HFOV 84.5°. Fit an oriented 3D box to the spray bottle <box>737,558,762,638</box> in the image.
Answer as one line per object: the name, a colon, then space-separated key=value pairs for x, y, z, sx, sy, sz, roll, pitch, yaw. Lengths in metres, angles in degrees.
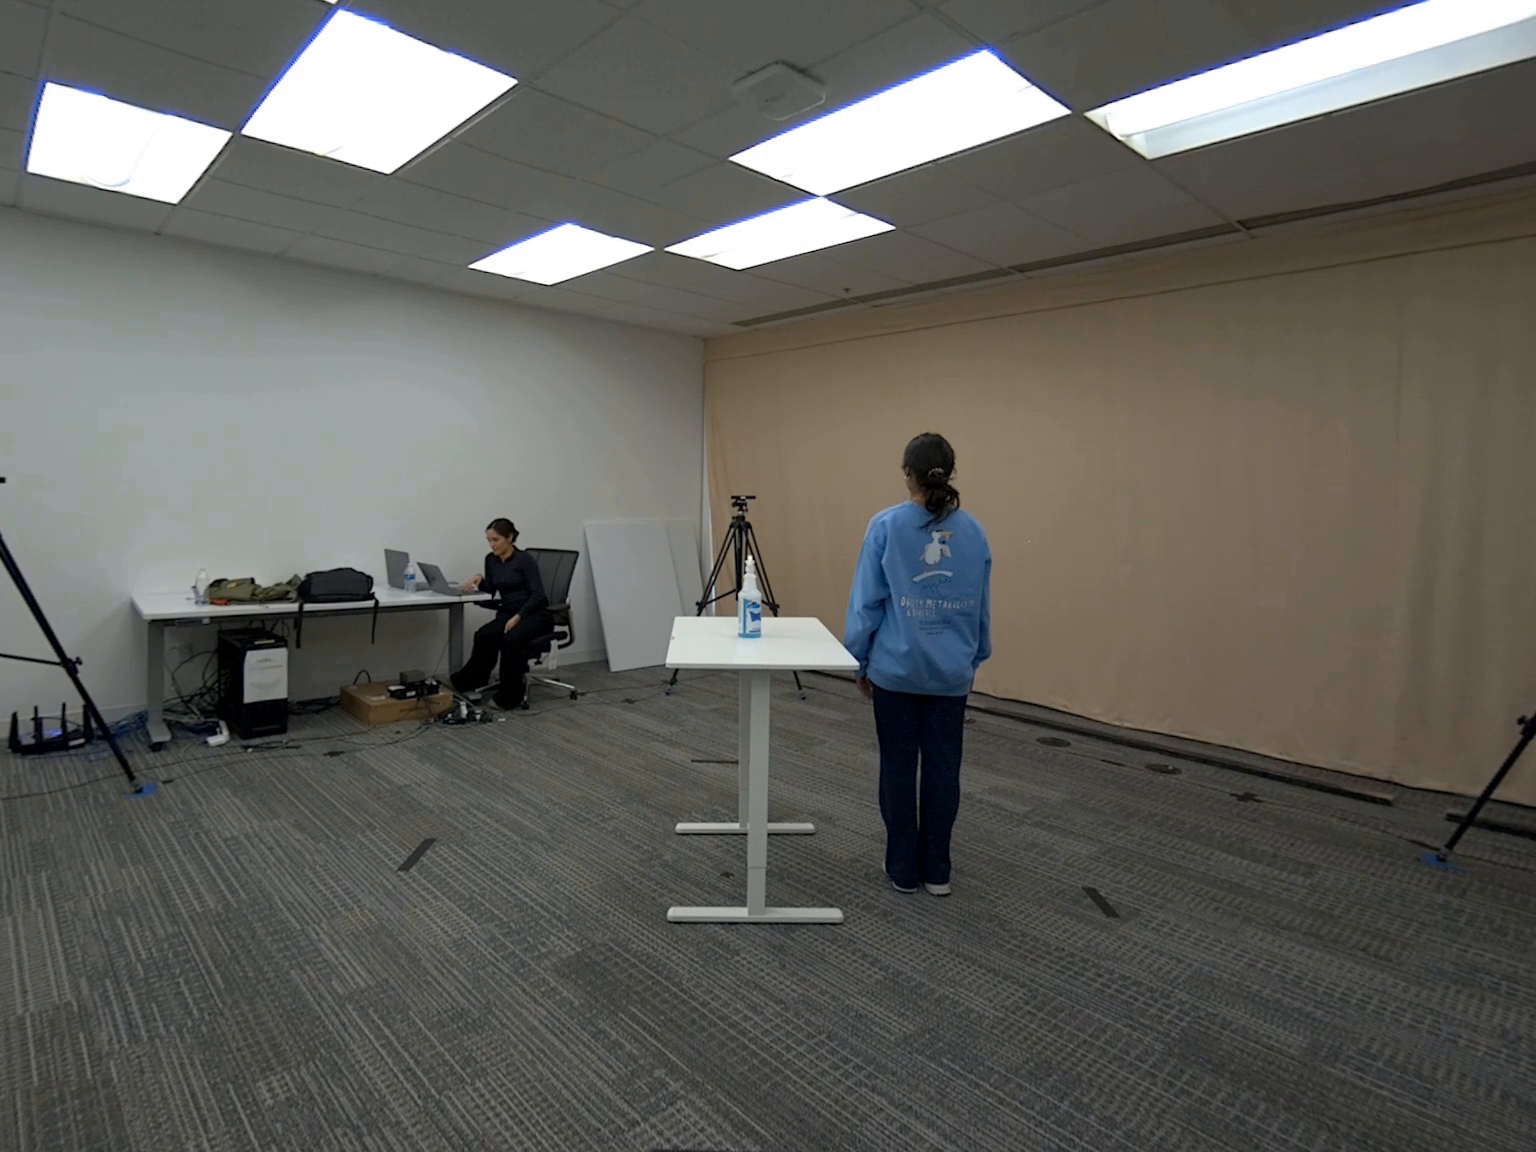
spray bottle: x=-0.070 y=0.076 z=3.099 sx=0.088 sy=0.297 sz=0.088 roll=1 pitch=1 yaw=21
